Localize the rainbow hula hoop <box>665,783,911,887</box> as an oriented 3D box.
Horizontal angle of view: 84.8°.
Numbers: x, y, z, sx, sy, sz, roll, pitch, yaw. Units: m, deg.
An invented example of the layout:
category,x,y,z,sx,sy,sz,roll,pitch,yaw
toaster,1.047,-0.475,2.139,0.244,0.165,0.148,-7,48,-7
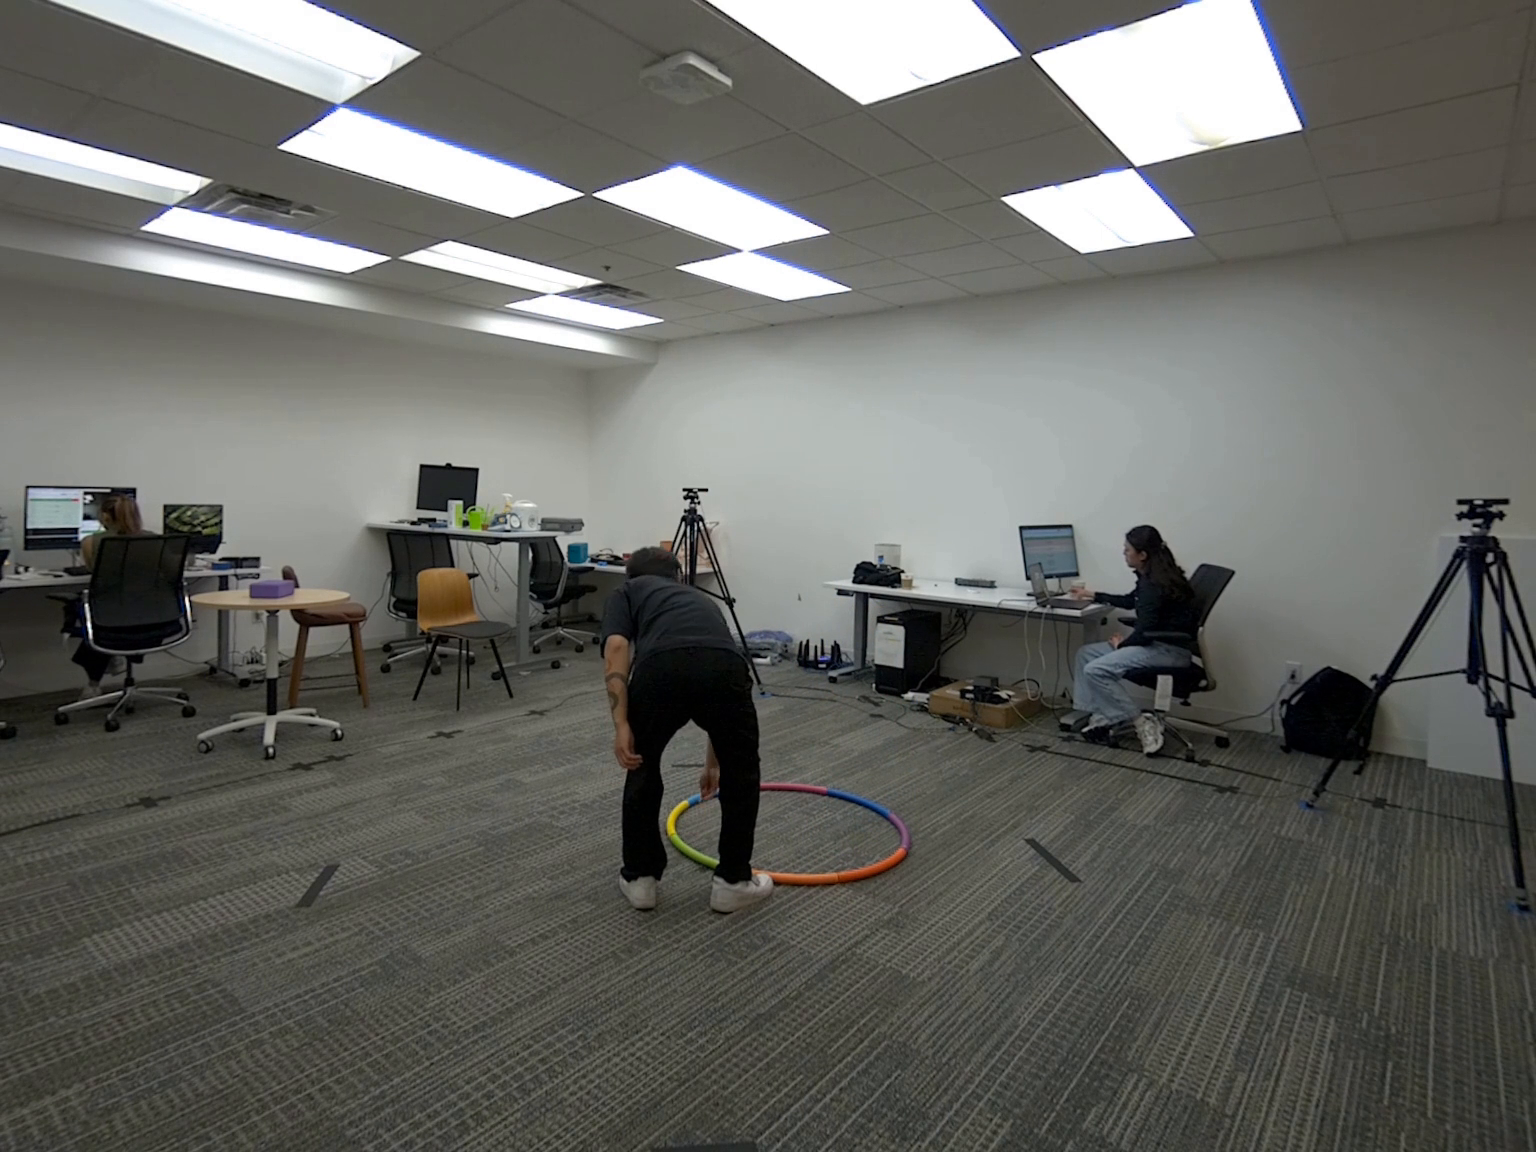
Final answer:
category,x,y,z,sx,sy,sz,roll,pitch,yaw
rainbow hula hoop,0.068,1.012,3.476,0.978,0.035,0.984,1,6,-2
